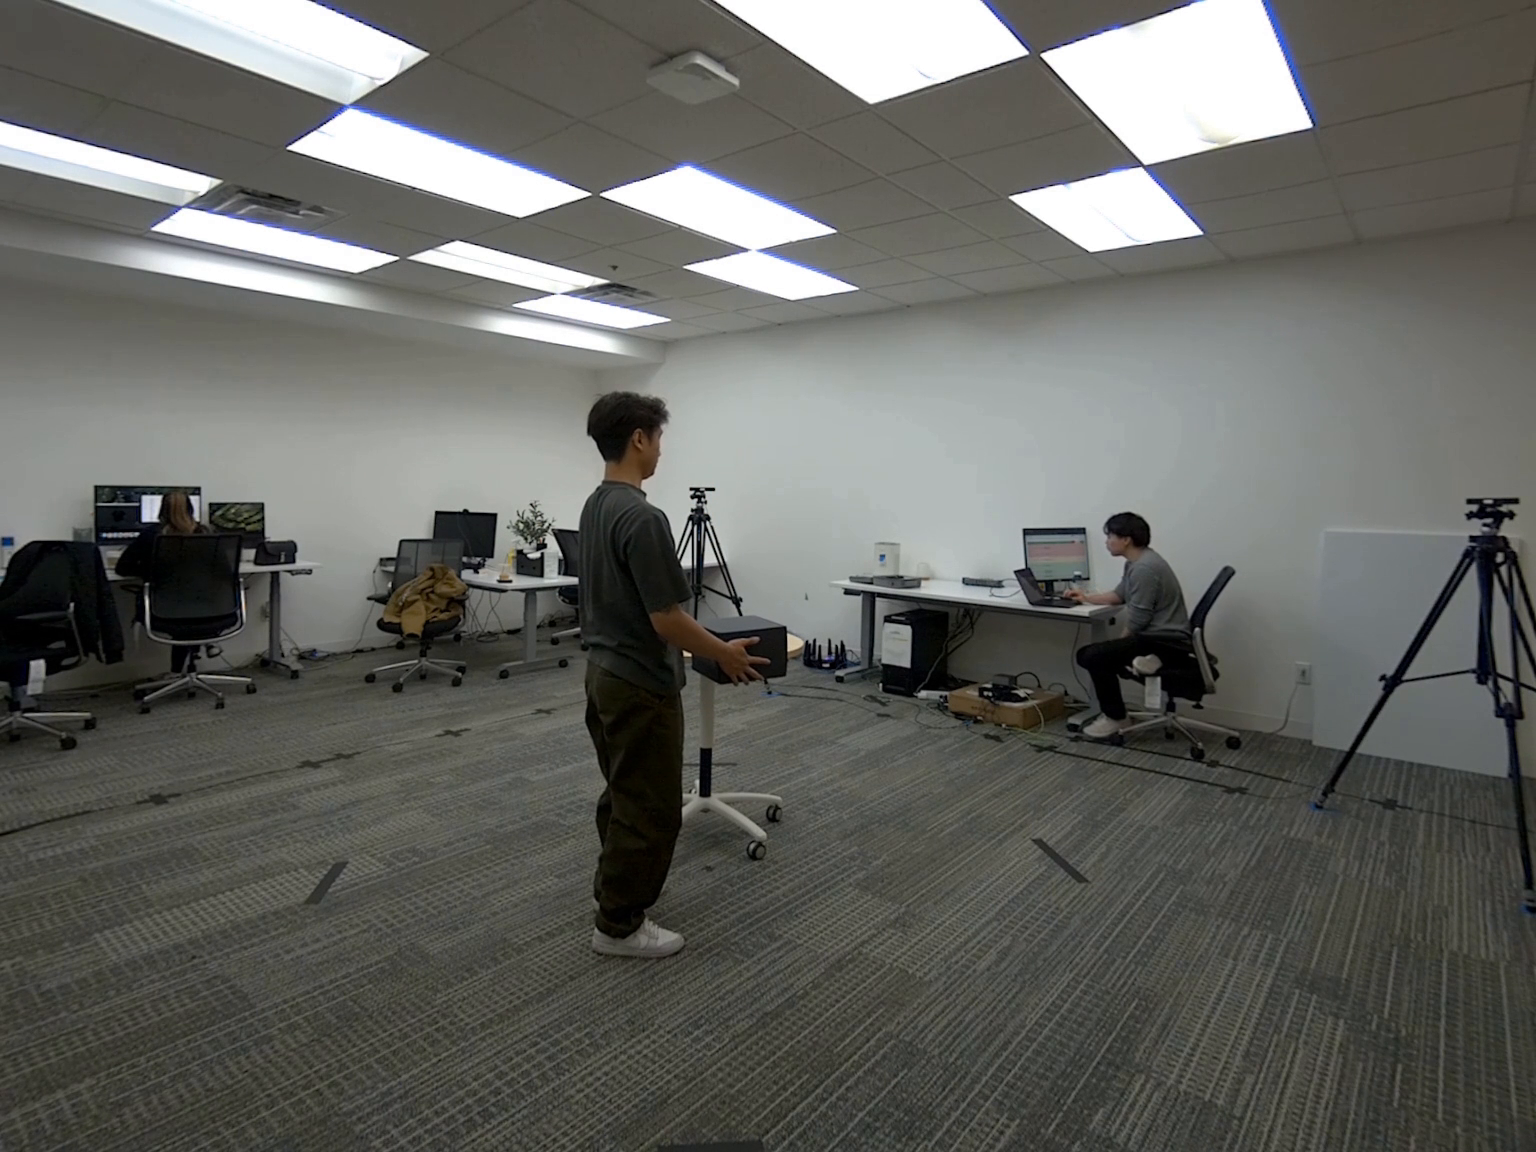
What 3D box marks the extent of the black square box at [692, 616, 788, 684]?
[{"bbox_3d":[-0.106,0.224,2.627,0.223,0.155,0.223,-4,7,-23],"label":"black square box"}]
